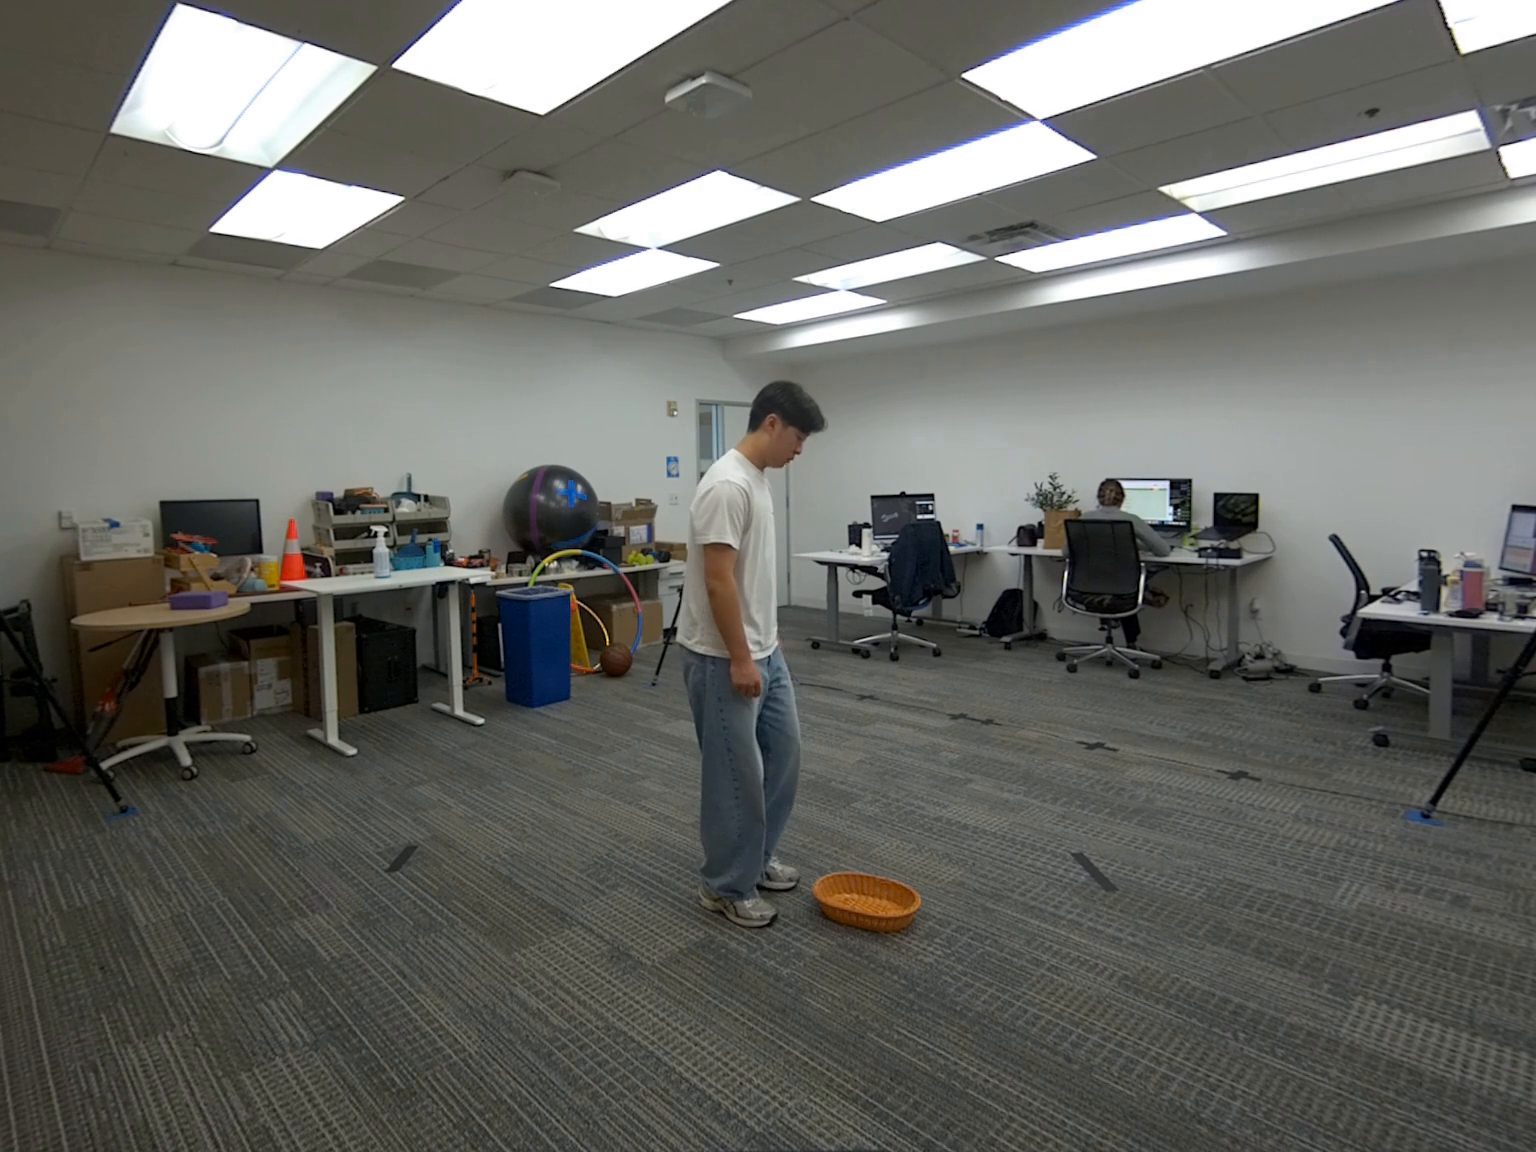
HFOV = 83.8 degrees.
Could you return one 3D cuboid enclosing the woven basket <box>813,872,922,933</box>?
[{"bbox_3d":[0.314,1.039,2.735,0.359,0.073,0.247,2,7,30],"label":"woven basket"}]
